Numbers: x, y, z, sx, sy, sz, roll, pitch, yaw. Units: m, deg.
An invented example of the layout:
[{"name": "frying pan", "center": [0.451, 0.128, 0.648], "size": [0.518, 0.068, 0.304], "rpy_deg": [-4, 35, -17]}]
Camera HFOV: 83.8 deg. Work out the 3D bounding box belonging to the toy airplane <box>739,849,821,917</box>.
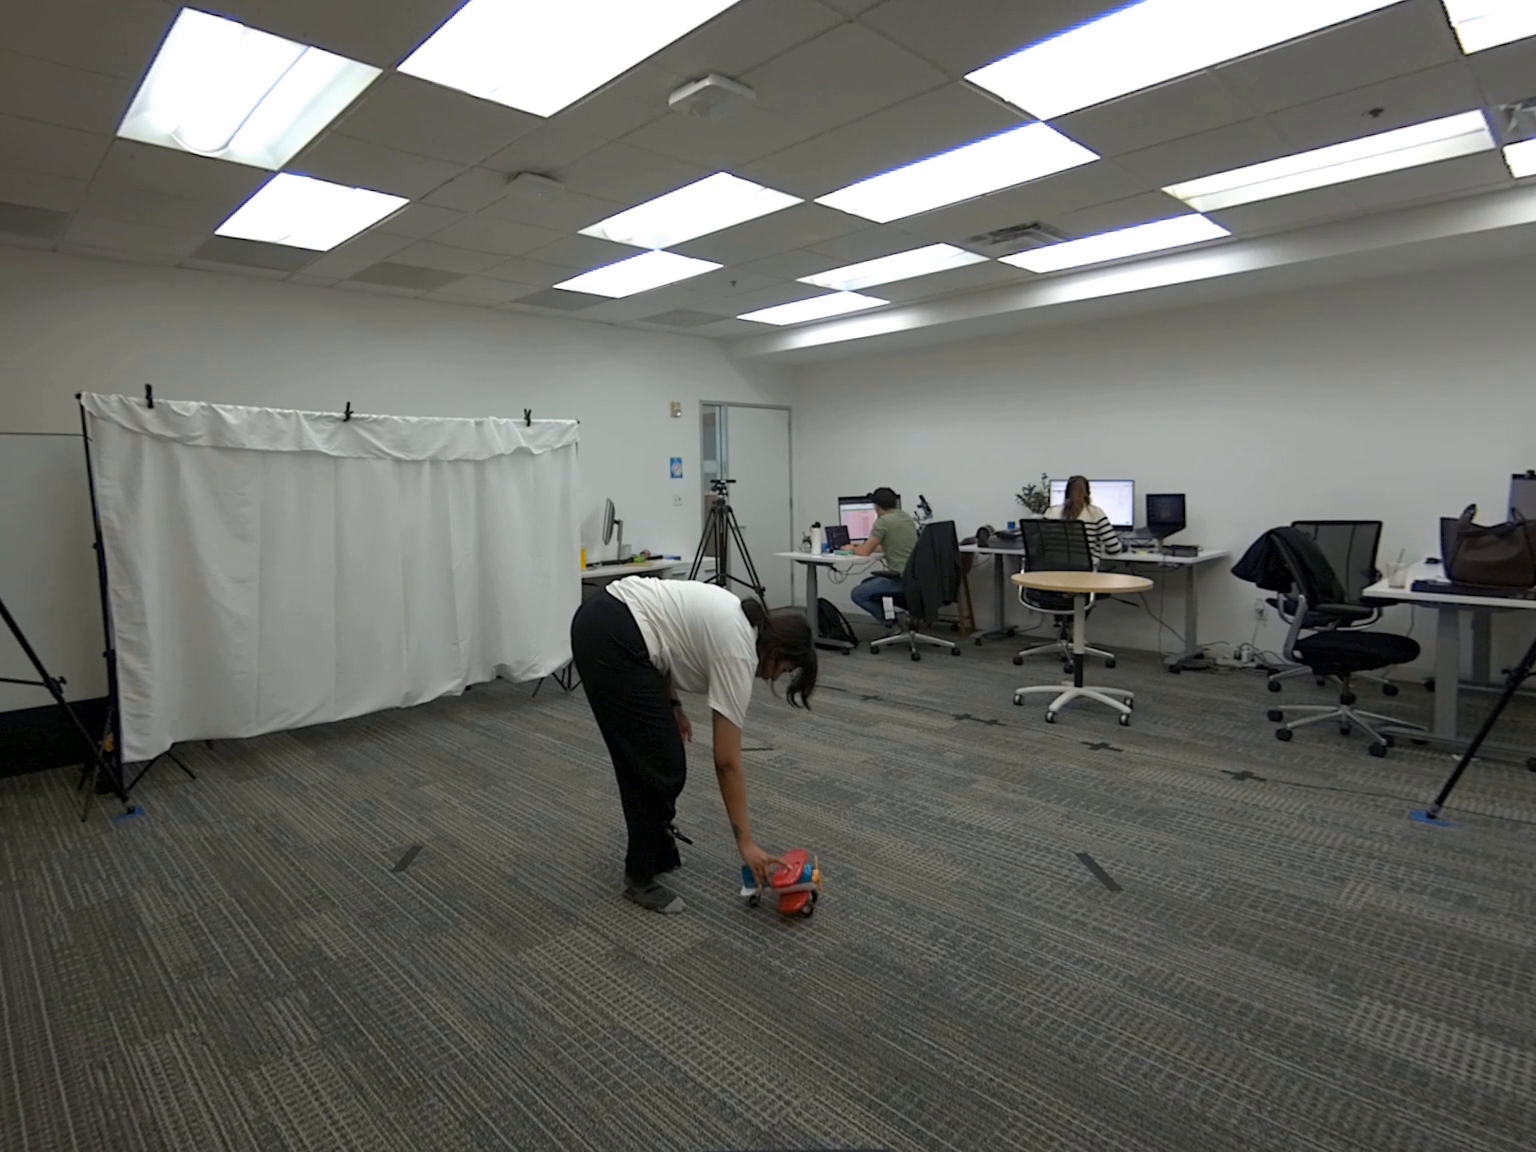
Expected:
[{"name": "toy airplane", "center": [0.043, 1.006, 2.766], "size": [0.256, 0.155, 0.256], "rpy_deg": [-3, 7, -15]}]
